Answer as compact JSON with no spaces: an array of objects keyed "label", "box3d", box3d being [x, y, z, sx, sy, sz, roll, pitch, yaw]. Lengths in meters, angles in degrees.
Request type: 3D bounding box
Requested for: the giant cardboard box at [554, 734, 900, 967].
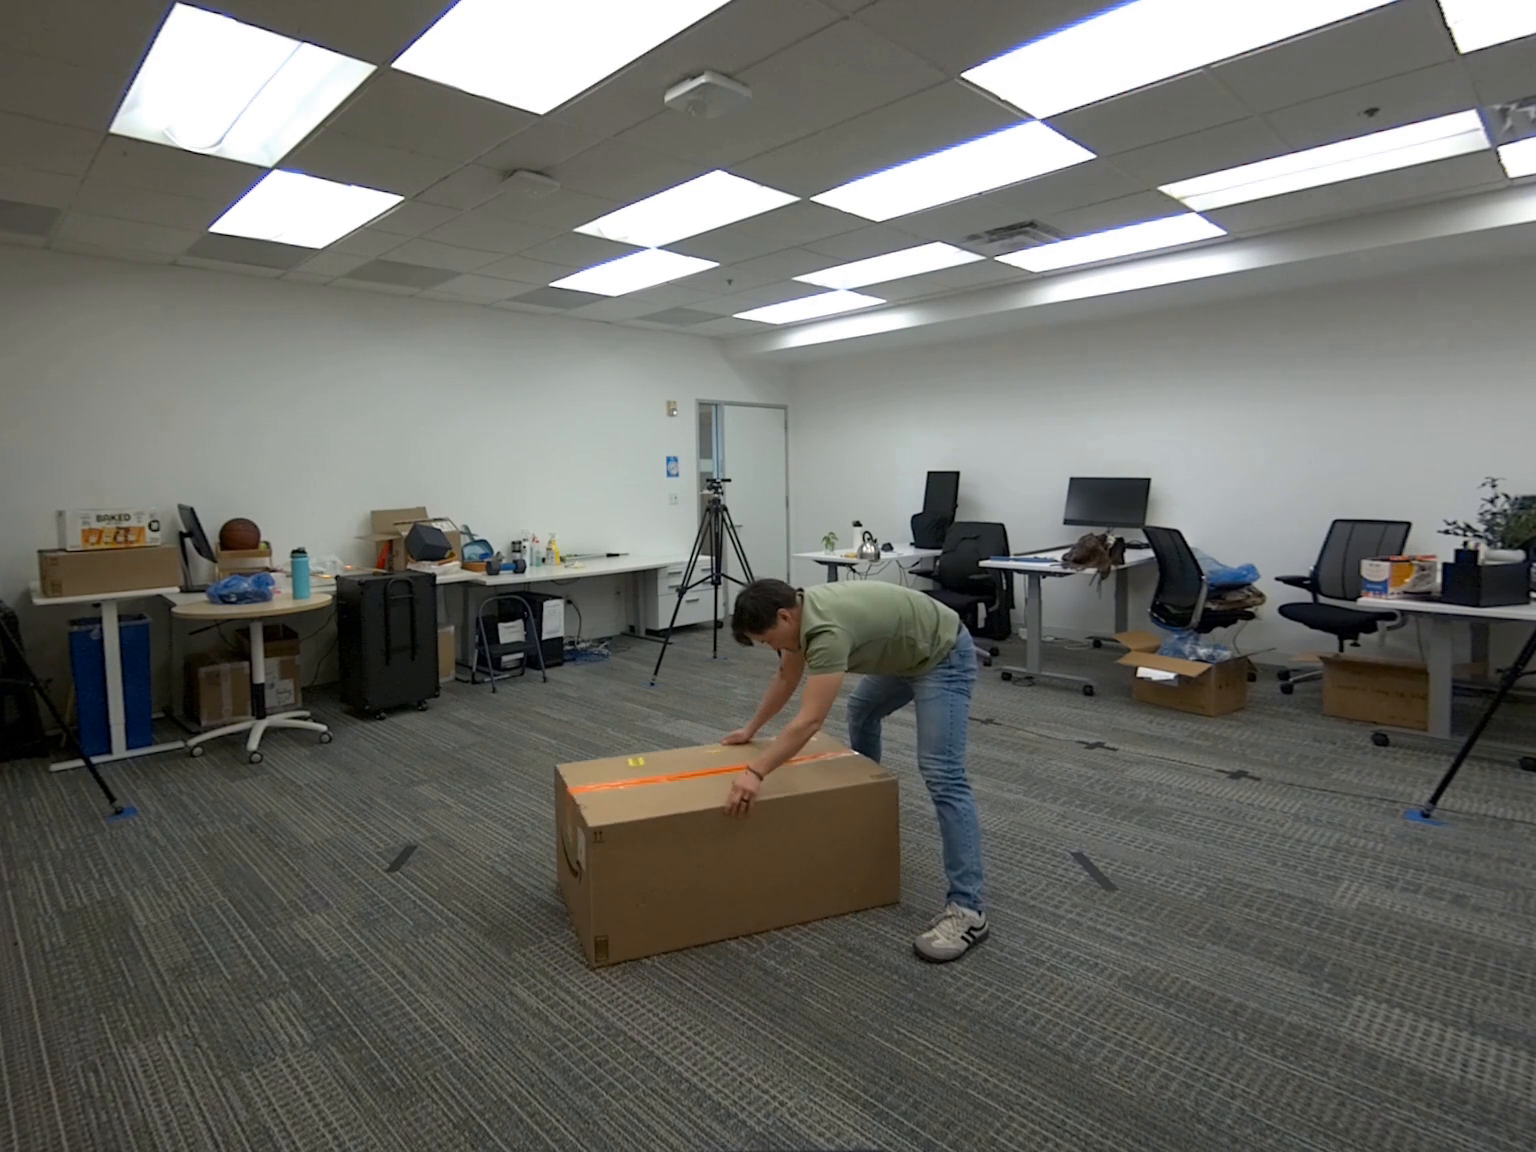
[{"label":"giant cardboard box","box3d":[-0.147,0.859,2.874,1.007,0.424,0.590,-3,5,-21]}]
